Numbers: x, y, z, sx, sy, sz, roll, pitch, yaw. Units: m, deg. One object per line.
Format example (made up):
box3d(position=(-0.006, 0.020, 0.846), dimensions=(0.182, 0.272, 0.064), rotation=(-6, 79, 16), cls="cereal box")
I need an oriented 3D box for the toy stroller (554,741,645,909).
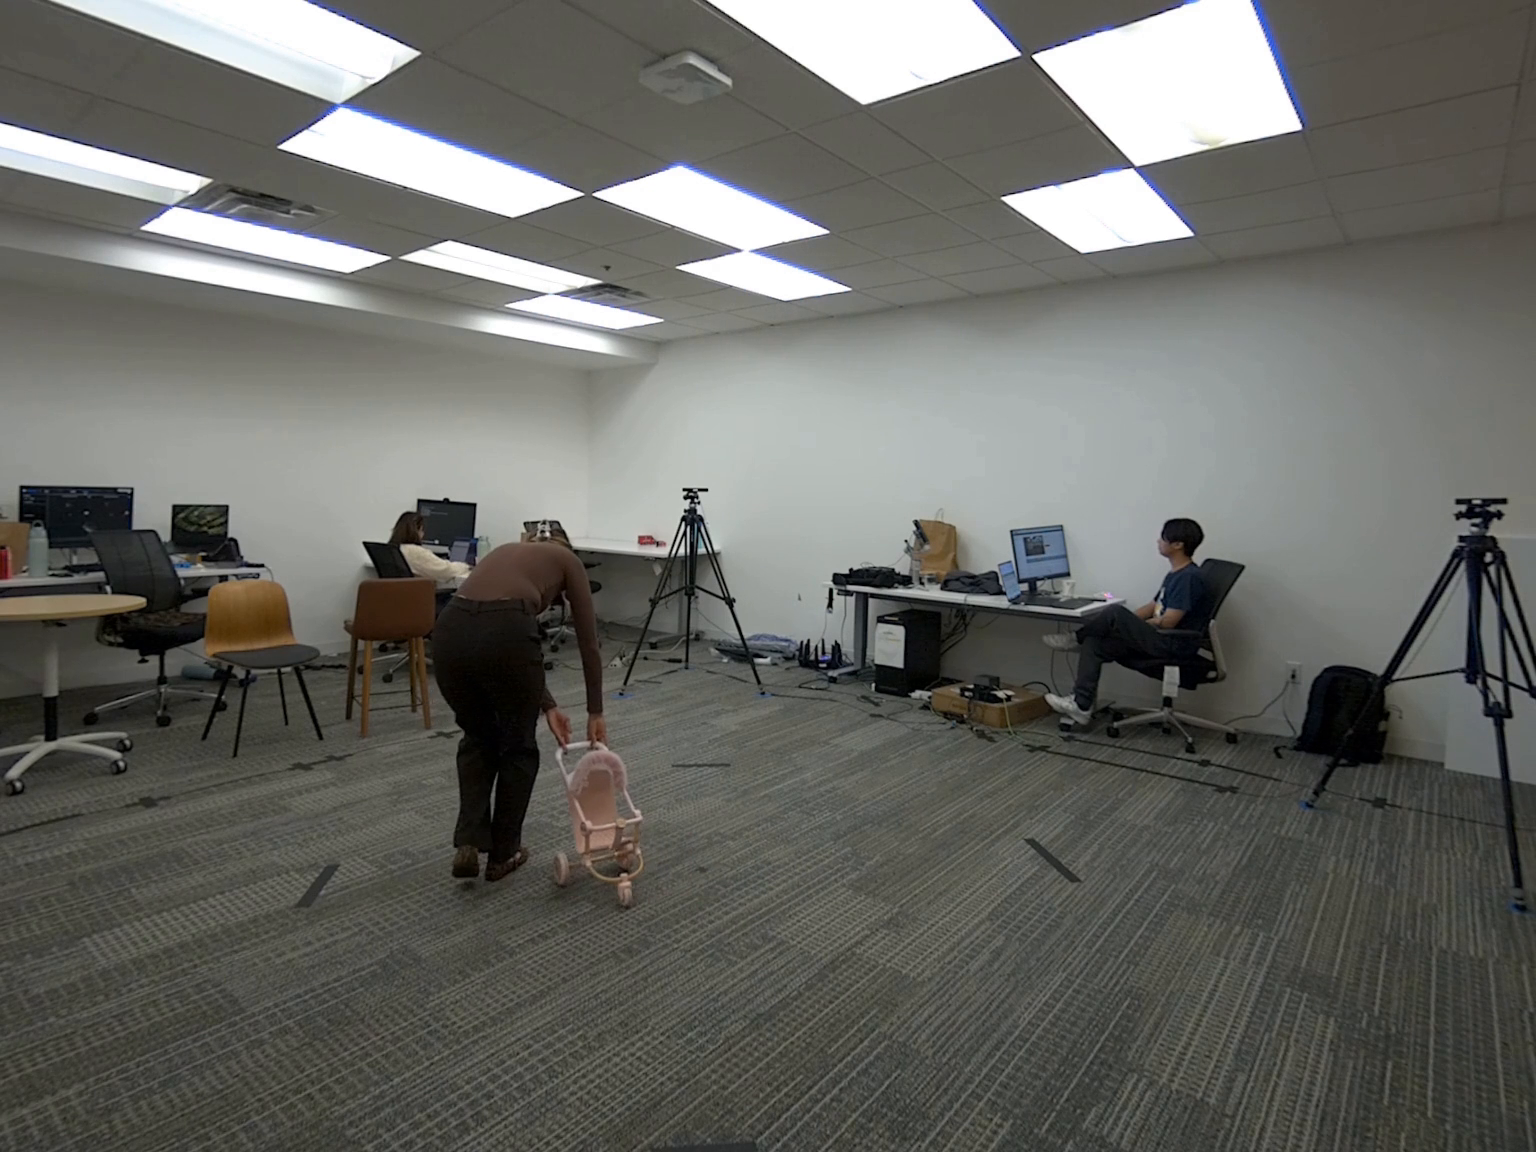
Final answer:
box3d(position=(-0.593, 0.848, 2.975), dimensions=(0.274, 0.541, 0.347), rotation=(-1, -12, -31), cls="toy stroller")
